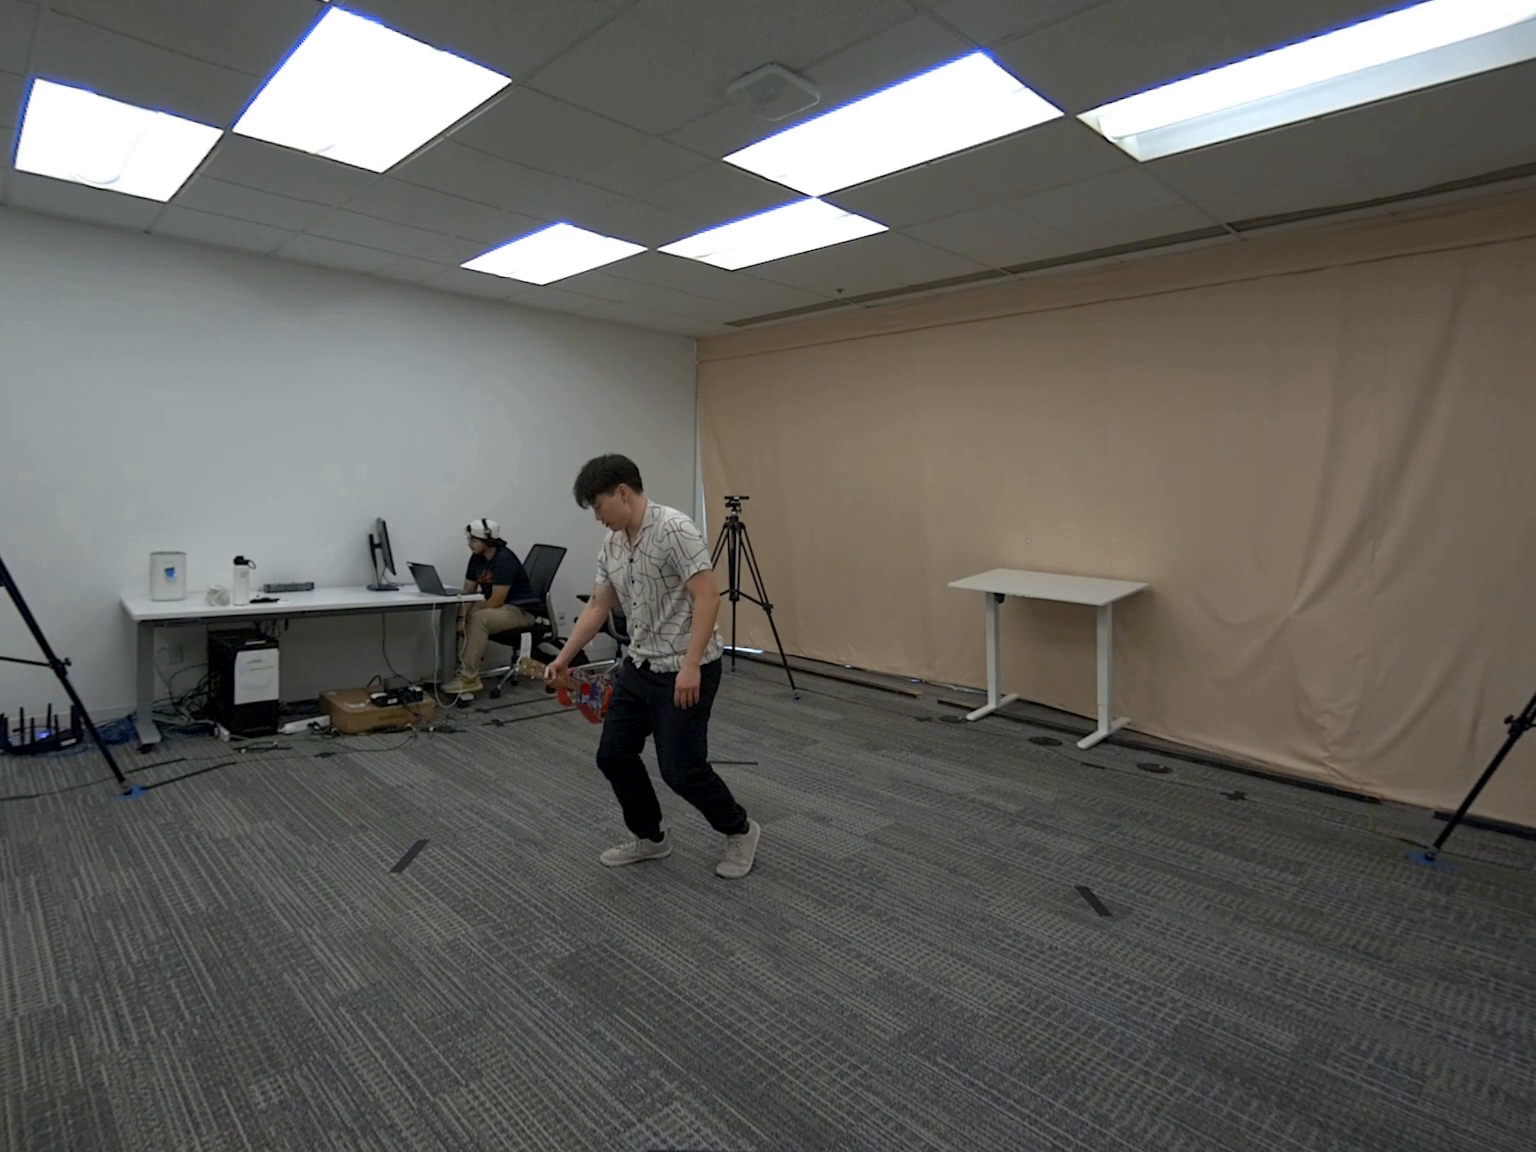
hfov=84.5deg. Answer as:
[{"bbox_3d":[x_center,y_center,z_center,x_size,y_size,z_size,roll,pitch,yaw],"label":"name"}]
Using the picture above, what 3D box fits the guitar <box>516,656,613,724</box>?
[{"bbox_3d":[-0.761,0.388,3.218,0.072,0.196,0.483,-16,-43,37],"label":"guitar"}]
